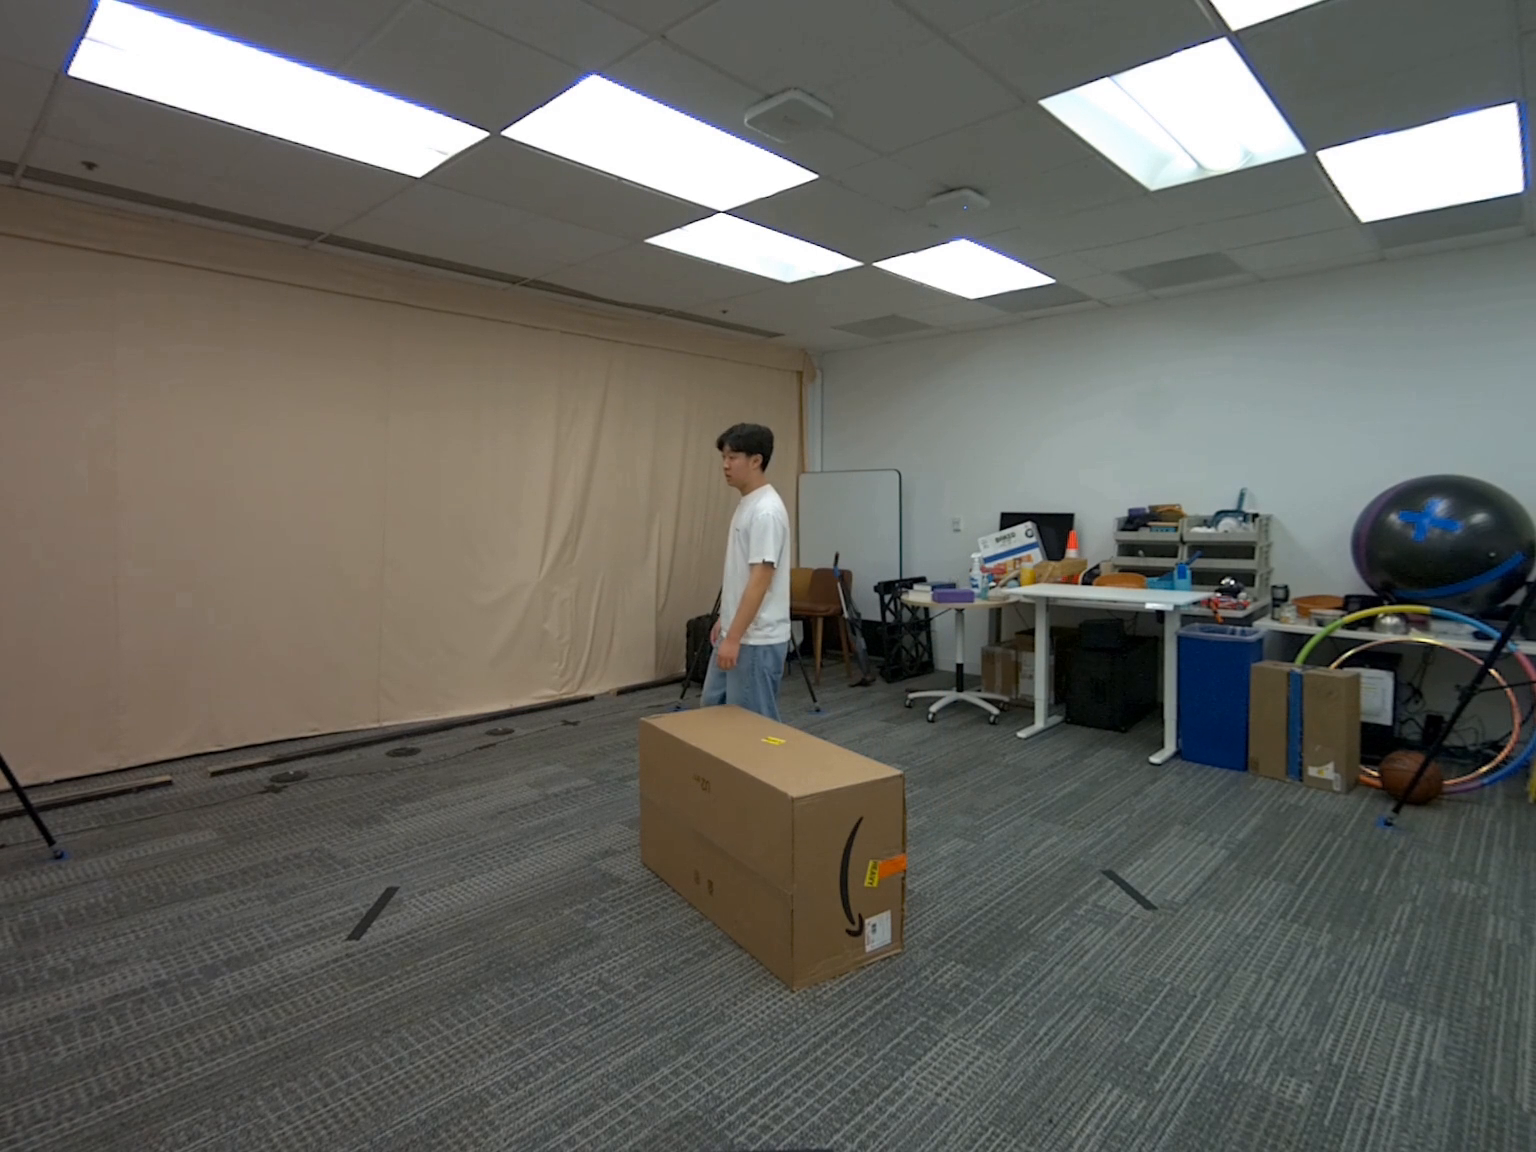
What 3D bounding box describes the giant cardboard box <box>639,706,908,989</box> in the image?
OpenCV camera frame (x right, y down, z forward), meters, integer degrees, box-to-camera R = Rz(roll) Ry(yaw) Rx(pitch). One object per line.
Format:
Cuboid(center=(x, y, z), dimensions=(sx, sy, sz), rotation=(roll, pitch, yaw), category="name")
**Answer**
Cuboid(center=(-0.032, 0.861, 2.936), dimensions=(0.414, 0.576, 1.057), rotation=(-3, 5, -33), category="giant cardboard box")
